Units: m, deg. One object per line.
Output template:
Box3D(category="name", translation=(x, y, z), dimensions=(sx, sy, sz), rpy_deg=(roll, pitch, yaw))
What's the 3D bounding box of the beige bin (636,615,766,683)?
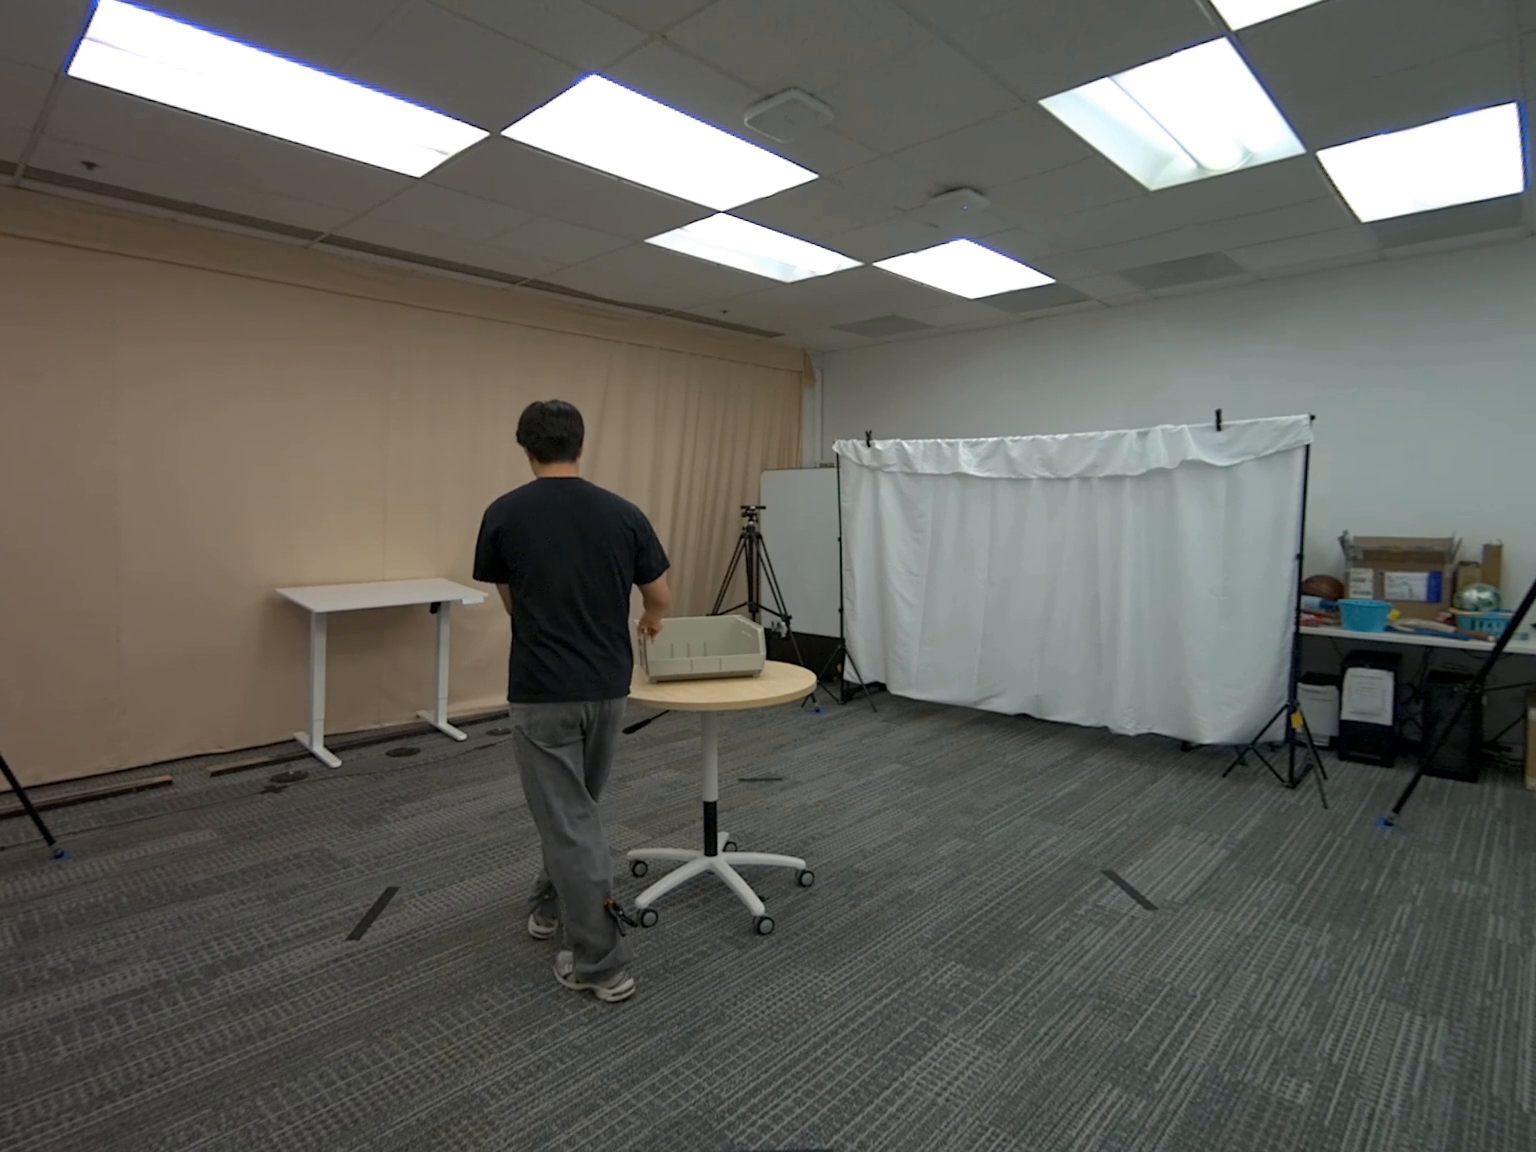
Box3D(category="beige bin", translation=(-0.251, 0.266, 3.079), dimensions=(0.417, 0.188, 0.383), rpy_deg=(-2, 4, -14))
